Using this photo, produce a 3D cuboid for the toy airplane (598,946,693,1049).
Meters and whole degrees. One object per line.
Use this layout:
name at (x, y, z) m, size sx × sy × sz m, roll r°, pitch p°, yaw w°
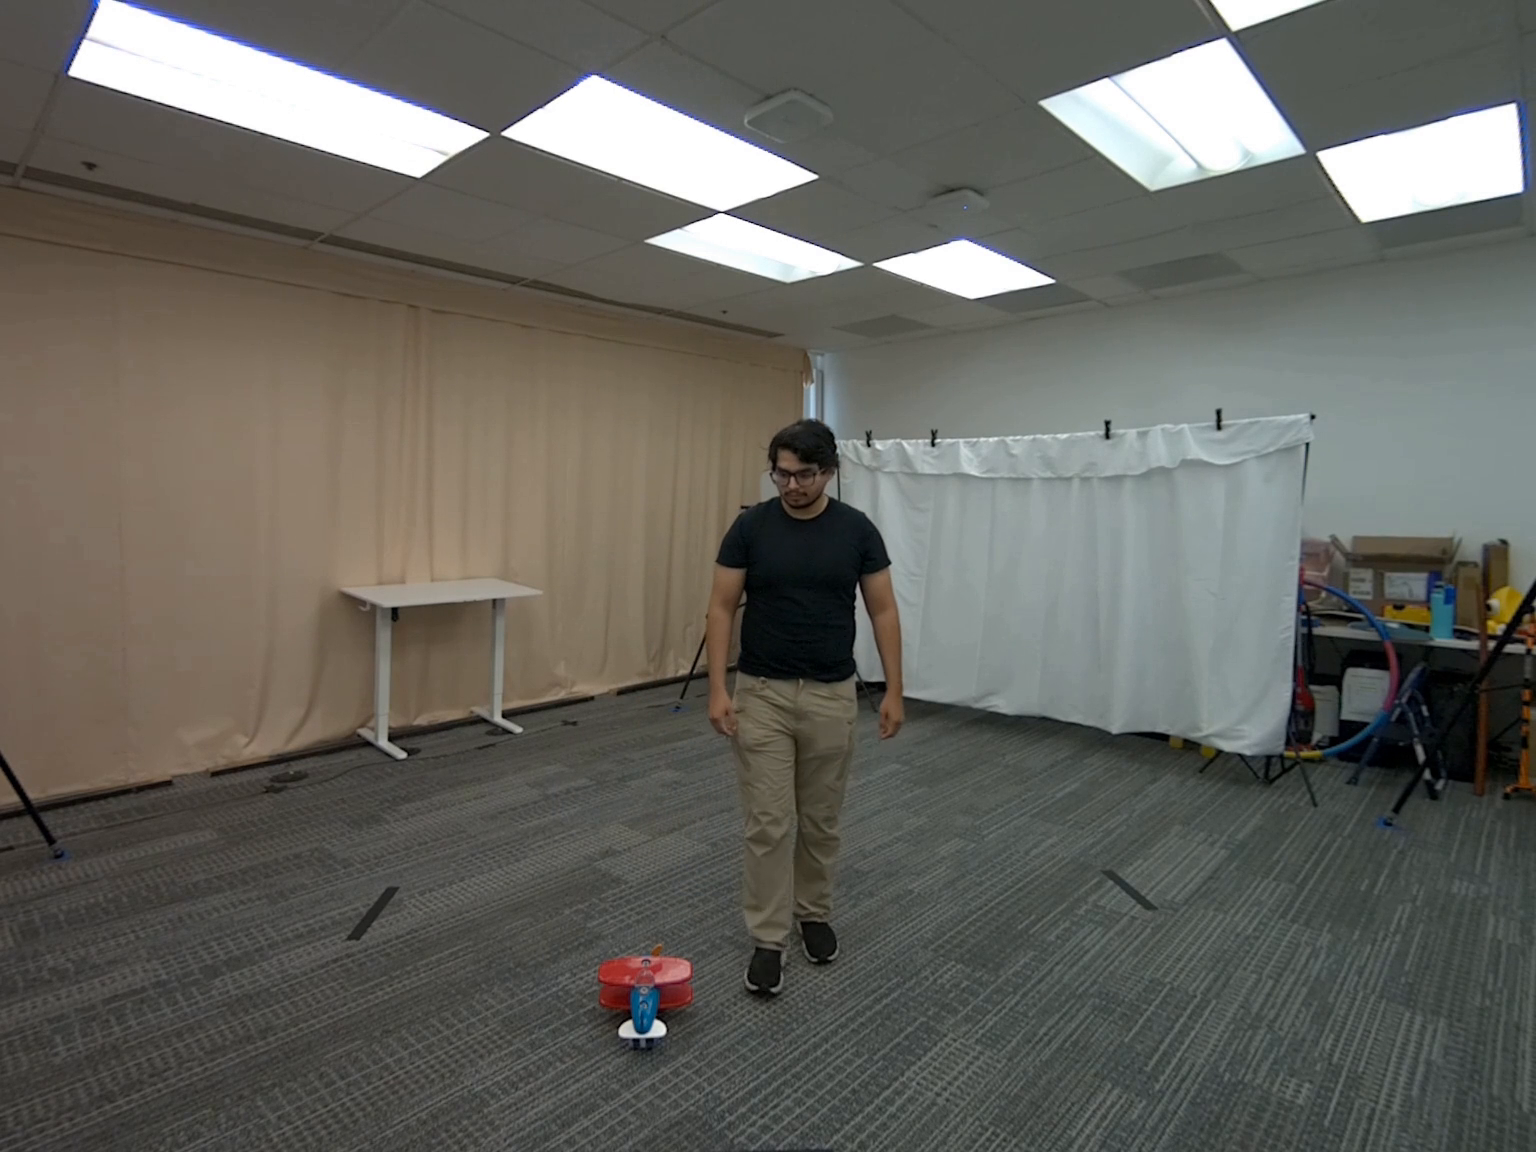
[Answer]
toy airplane at (-0.310, 1.131, 2.249) m, size 0.244 × 0.156 × 0.267 m, roll -3°, pitch 4°, yaw -31°
